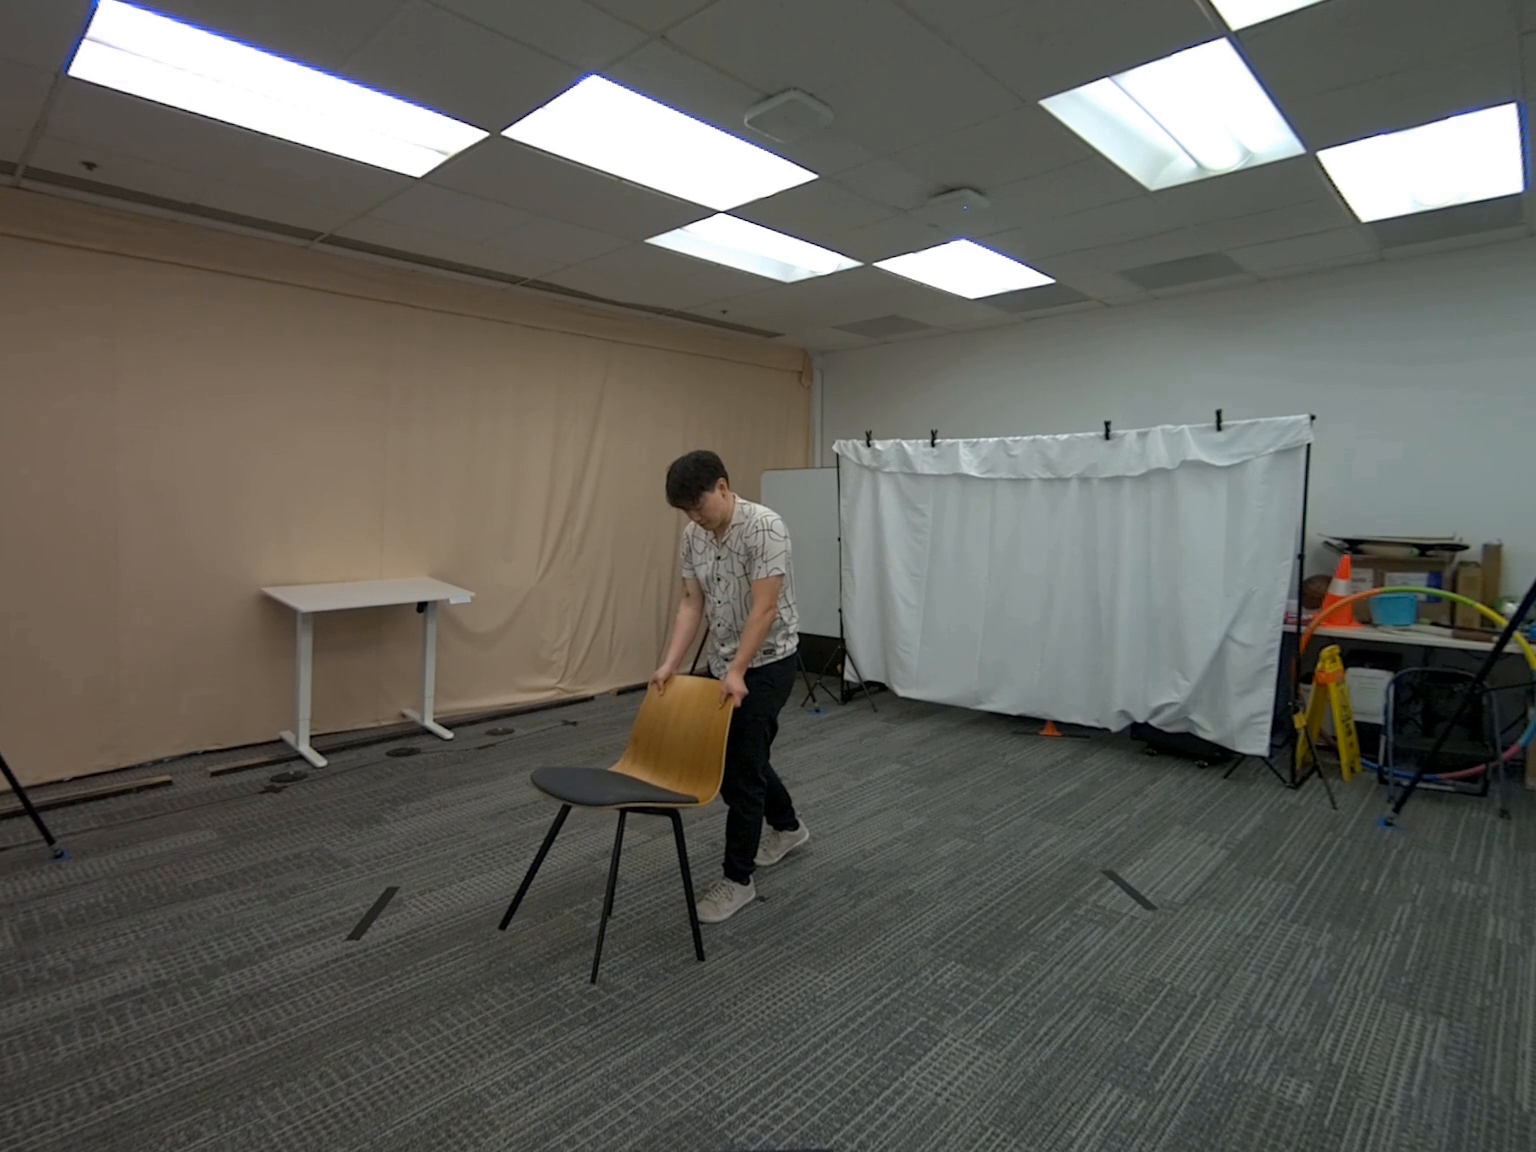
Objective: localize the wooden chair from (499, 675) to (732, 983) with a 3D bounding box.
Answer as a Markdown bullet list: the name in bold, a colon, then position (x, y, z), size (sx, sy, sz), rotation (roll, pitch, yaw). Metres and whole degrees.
- **wooden chair**: position (-0.440, 0.707, 2.610), size (0.494, 0.881, 0.504), rotation (2, -14, 41)
